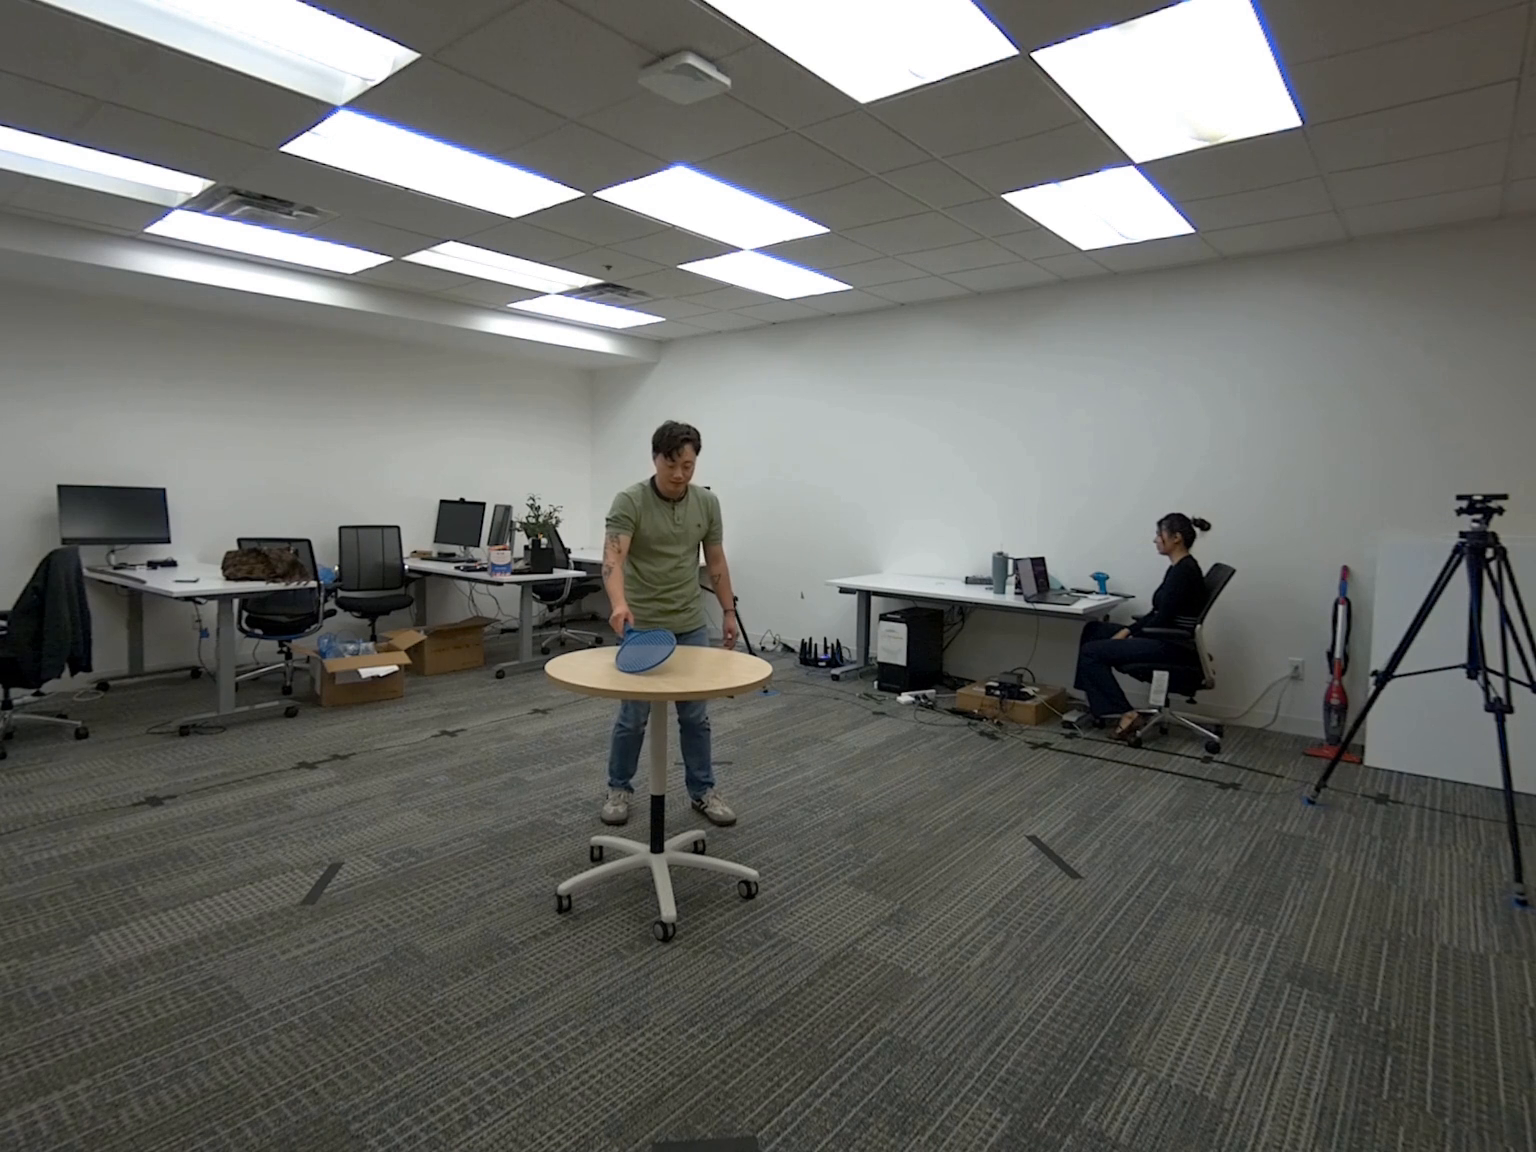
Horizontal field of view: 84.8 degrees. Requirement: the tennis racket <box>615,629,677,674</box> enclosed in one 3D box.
[{"bbox_3d":[-0.446,0.223,2.912,0.213,0.031,0.447,-30,25,-11],"label":"tennis racket"}]
